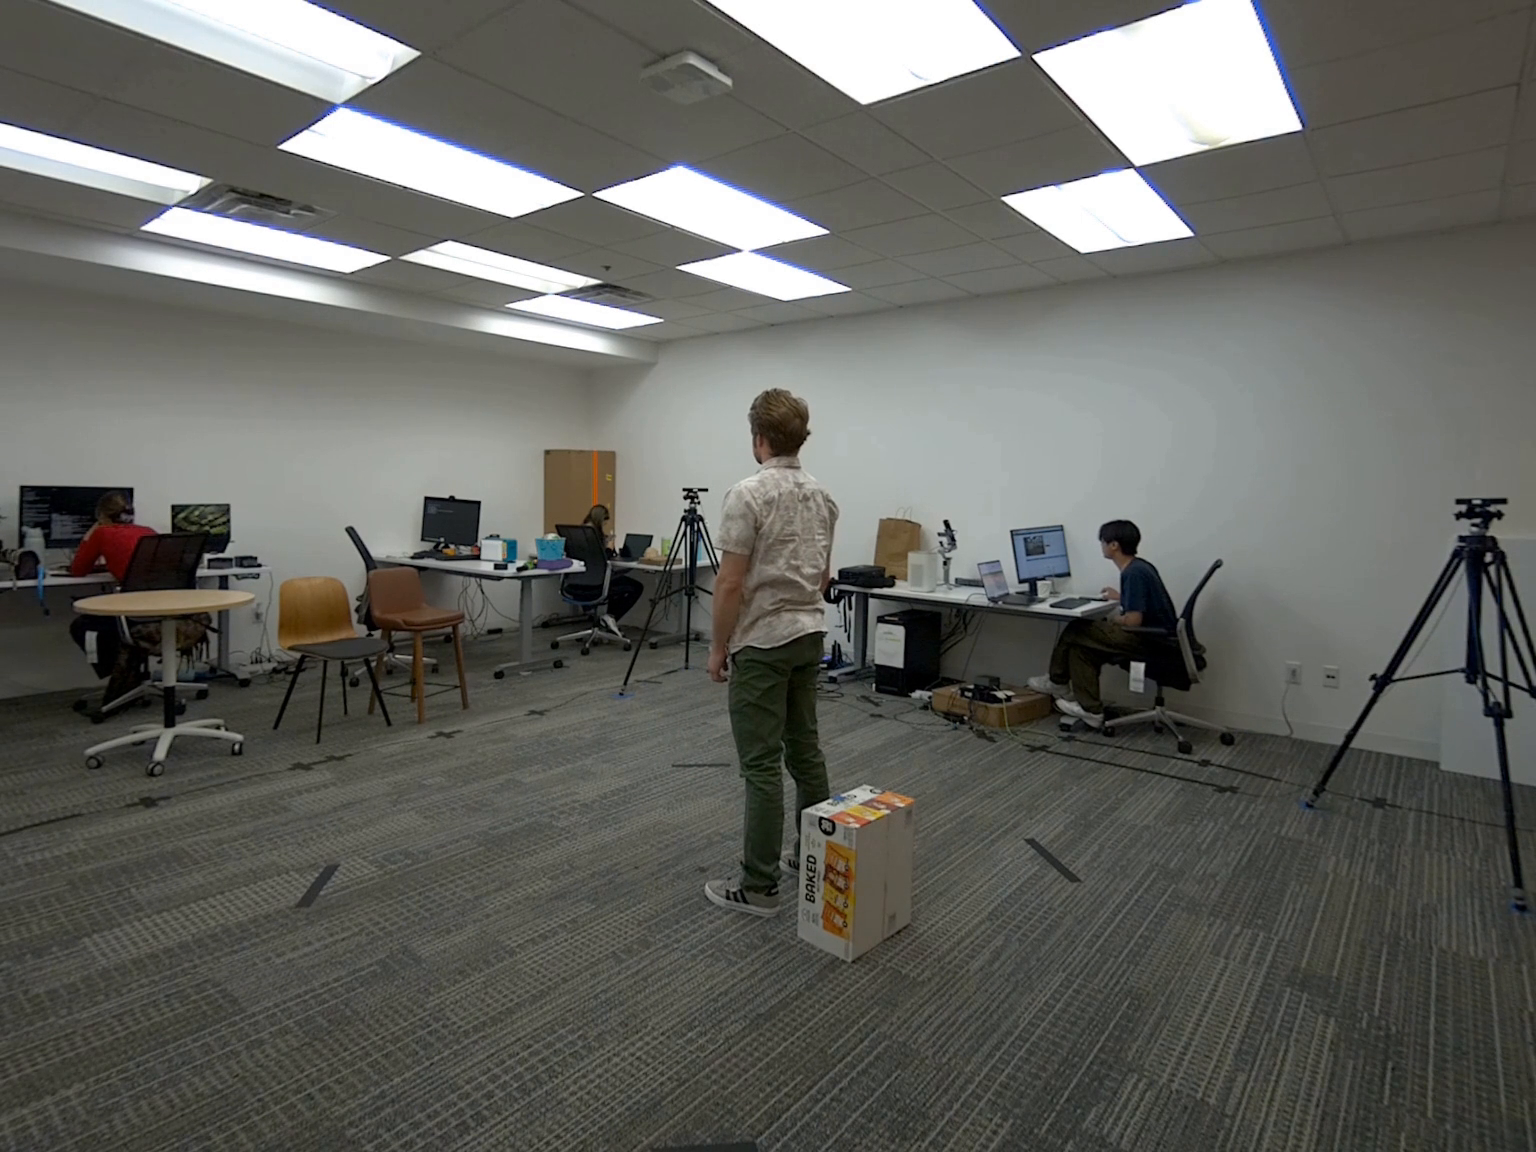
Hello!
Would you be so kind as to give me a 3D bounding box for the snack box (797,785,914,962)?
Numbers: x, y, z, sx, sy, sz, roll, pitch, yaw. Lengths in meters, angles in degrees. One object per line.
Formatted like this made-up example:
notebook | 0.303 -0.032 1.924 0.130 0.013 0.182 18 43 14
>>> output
snack box | 0.280 0.920 2.686 0.212 0.404 0.330 3 4 42
